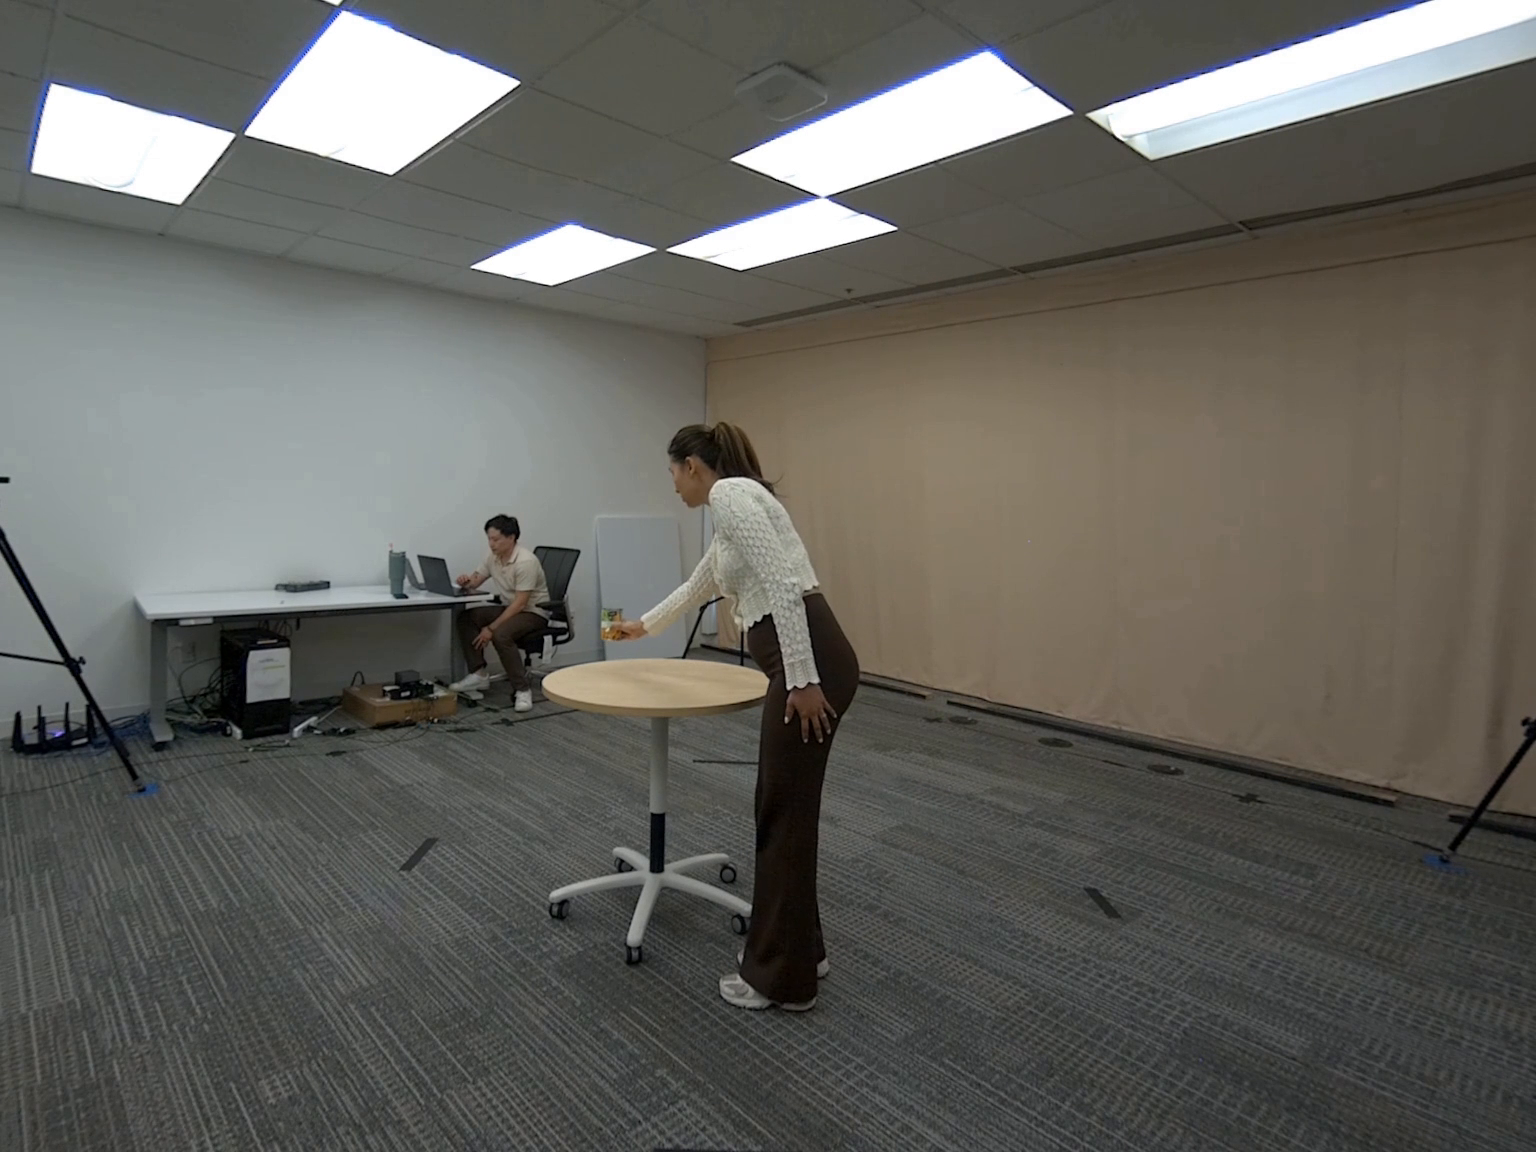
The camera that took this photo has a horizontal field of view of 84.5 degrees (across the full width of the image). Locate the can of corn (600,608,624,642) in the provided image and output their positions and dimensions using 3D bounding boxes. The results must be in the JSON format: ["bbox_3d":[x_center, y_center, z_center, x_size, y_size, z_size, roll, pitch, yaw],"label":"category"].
[{"bbox_3d":[-0.549,0.170,2.959,0.074,0.111,0.074,3,0,-1],"label":"can of corn"}]
